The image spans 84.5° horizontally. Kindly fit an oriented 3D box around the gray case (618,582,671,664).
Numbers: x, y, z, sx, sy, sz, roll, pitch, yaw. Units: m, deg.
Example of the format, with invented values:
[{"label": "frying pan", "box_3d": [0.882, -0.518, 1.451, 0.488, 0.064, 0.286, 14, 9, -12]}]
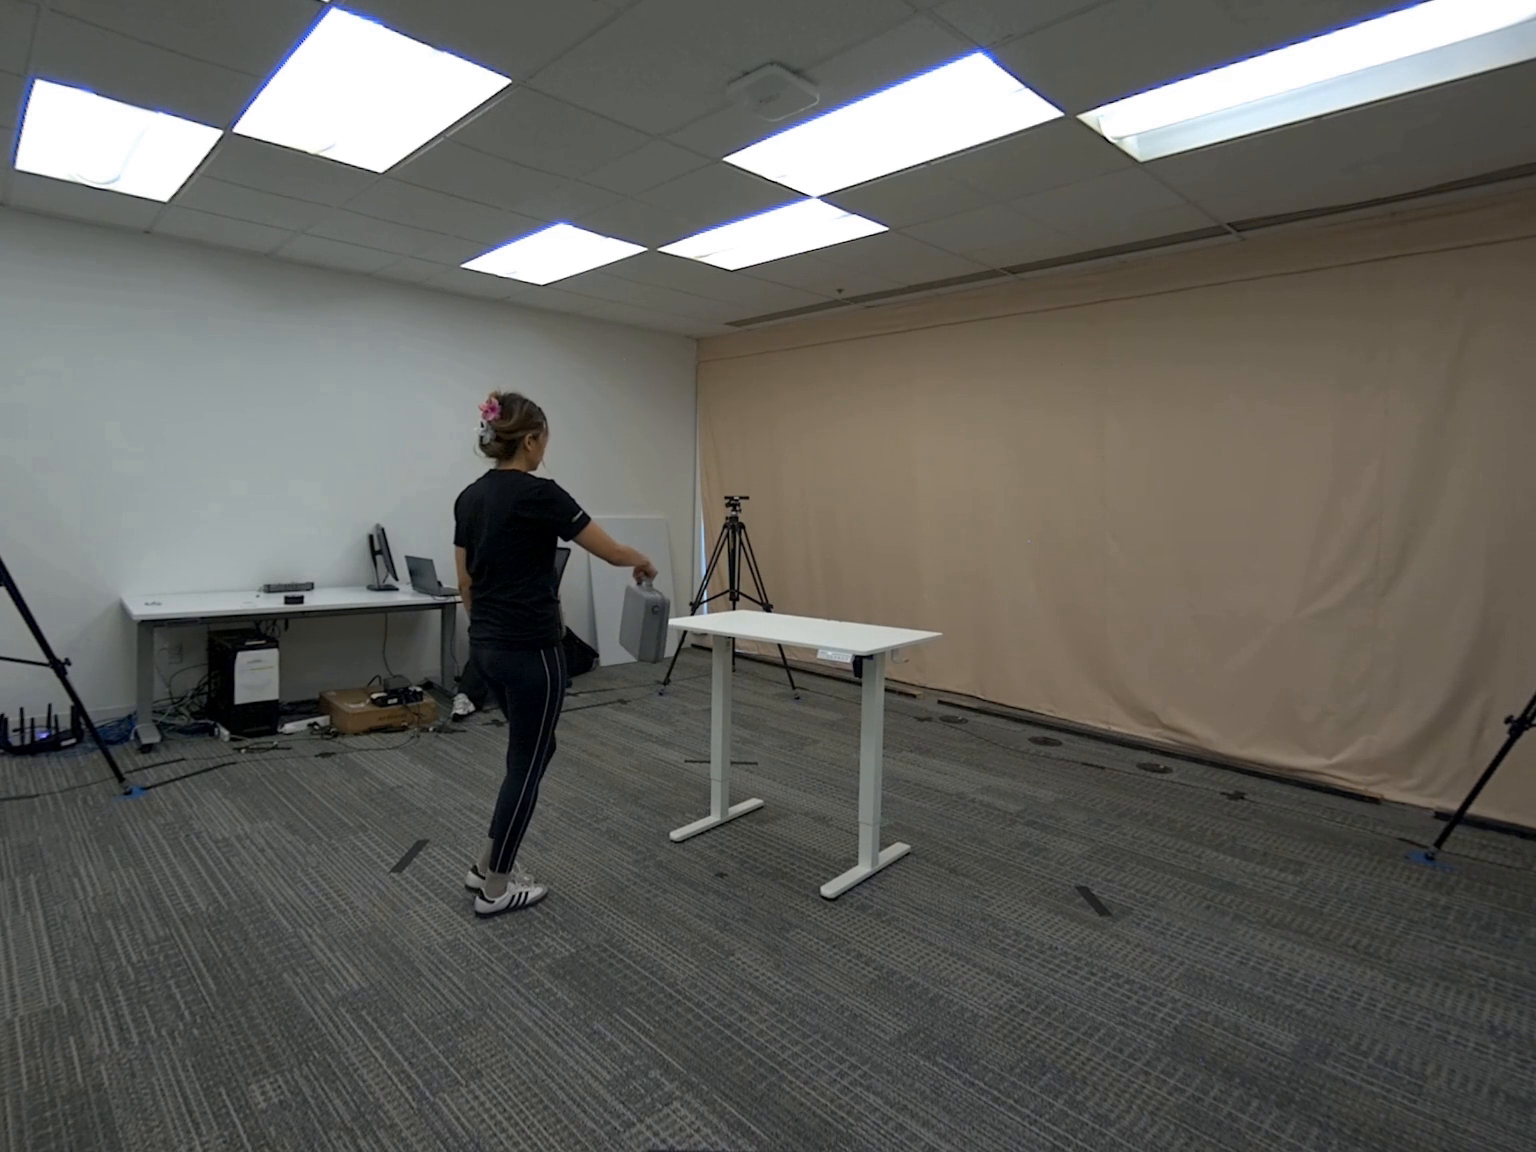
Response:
[{"label": "gray case", "box_3d": [-0.463, 0.168, 3.105, 0.102, 0.259, 0.263, 5, 8, -27]}]
